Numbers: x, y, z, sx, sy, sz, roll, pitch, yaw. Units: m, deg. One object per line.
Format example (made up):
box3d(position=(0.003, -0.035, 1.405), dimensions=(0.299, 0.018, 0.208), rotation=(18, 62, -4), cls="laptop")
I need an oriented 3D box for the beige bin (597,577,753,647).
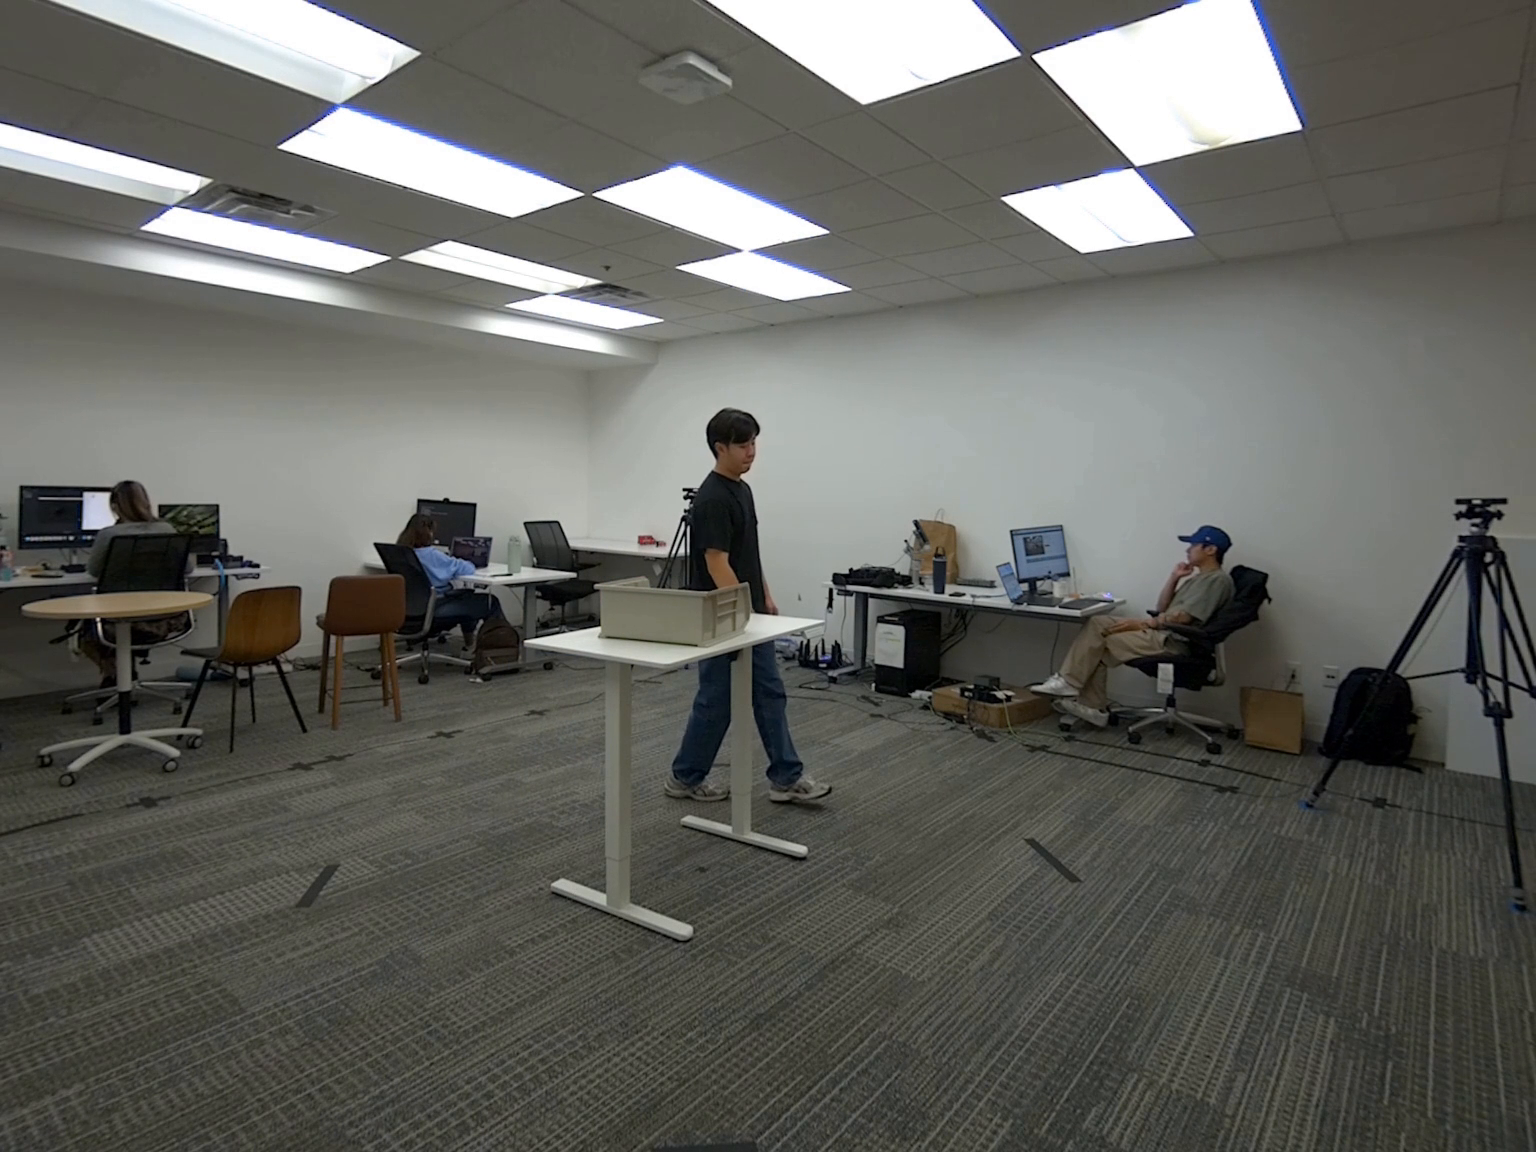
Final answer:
box3d(position=(-0.330, 0.116, 2.940), dimensions=(0.433, 0.188, 0.370), rotation=(4, 7, 24), cls="beige bin")
